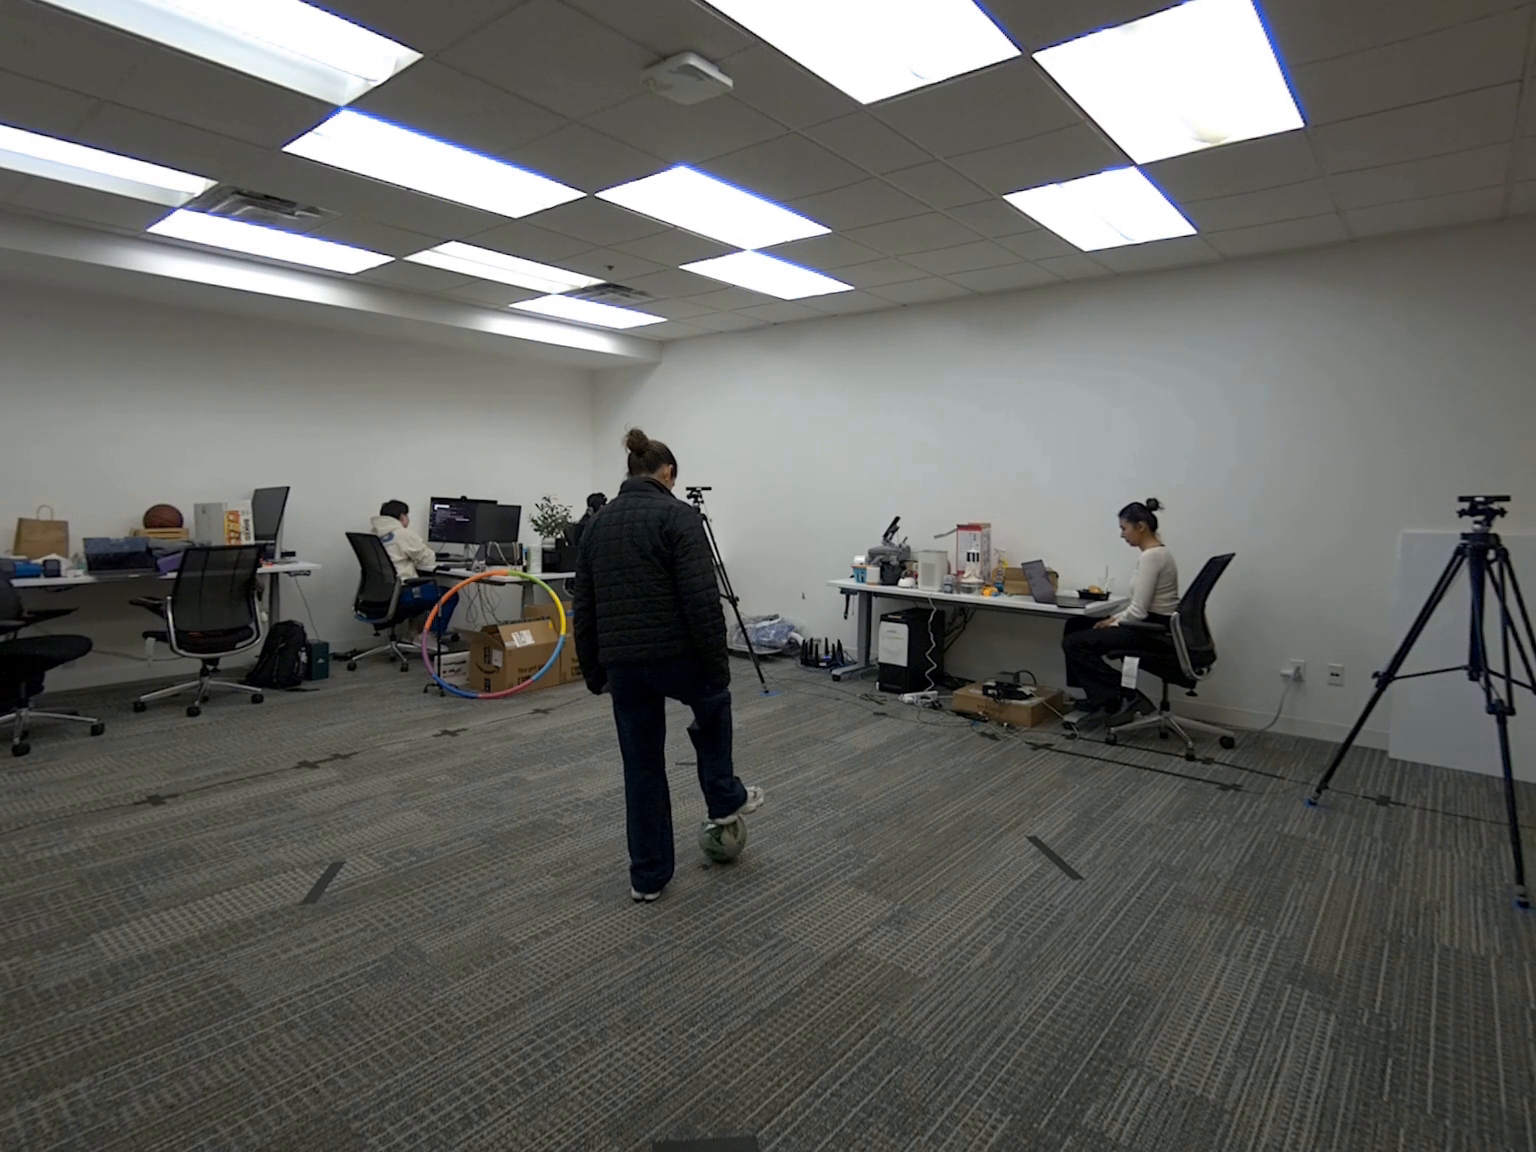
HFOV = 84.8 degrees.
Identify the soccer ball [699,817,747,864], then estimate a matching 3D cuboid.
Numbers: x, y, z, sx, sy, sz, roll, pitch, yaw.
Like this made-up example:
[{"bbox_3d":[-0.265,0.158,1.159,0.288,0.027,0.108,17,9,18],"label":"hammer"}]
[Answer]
[{"bbox_3d":[-0.179,0.963,3.179,0.187,0.187,0.188,1,4,-2],"label":"soccer ball"}]
